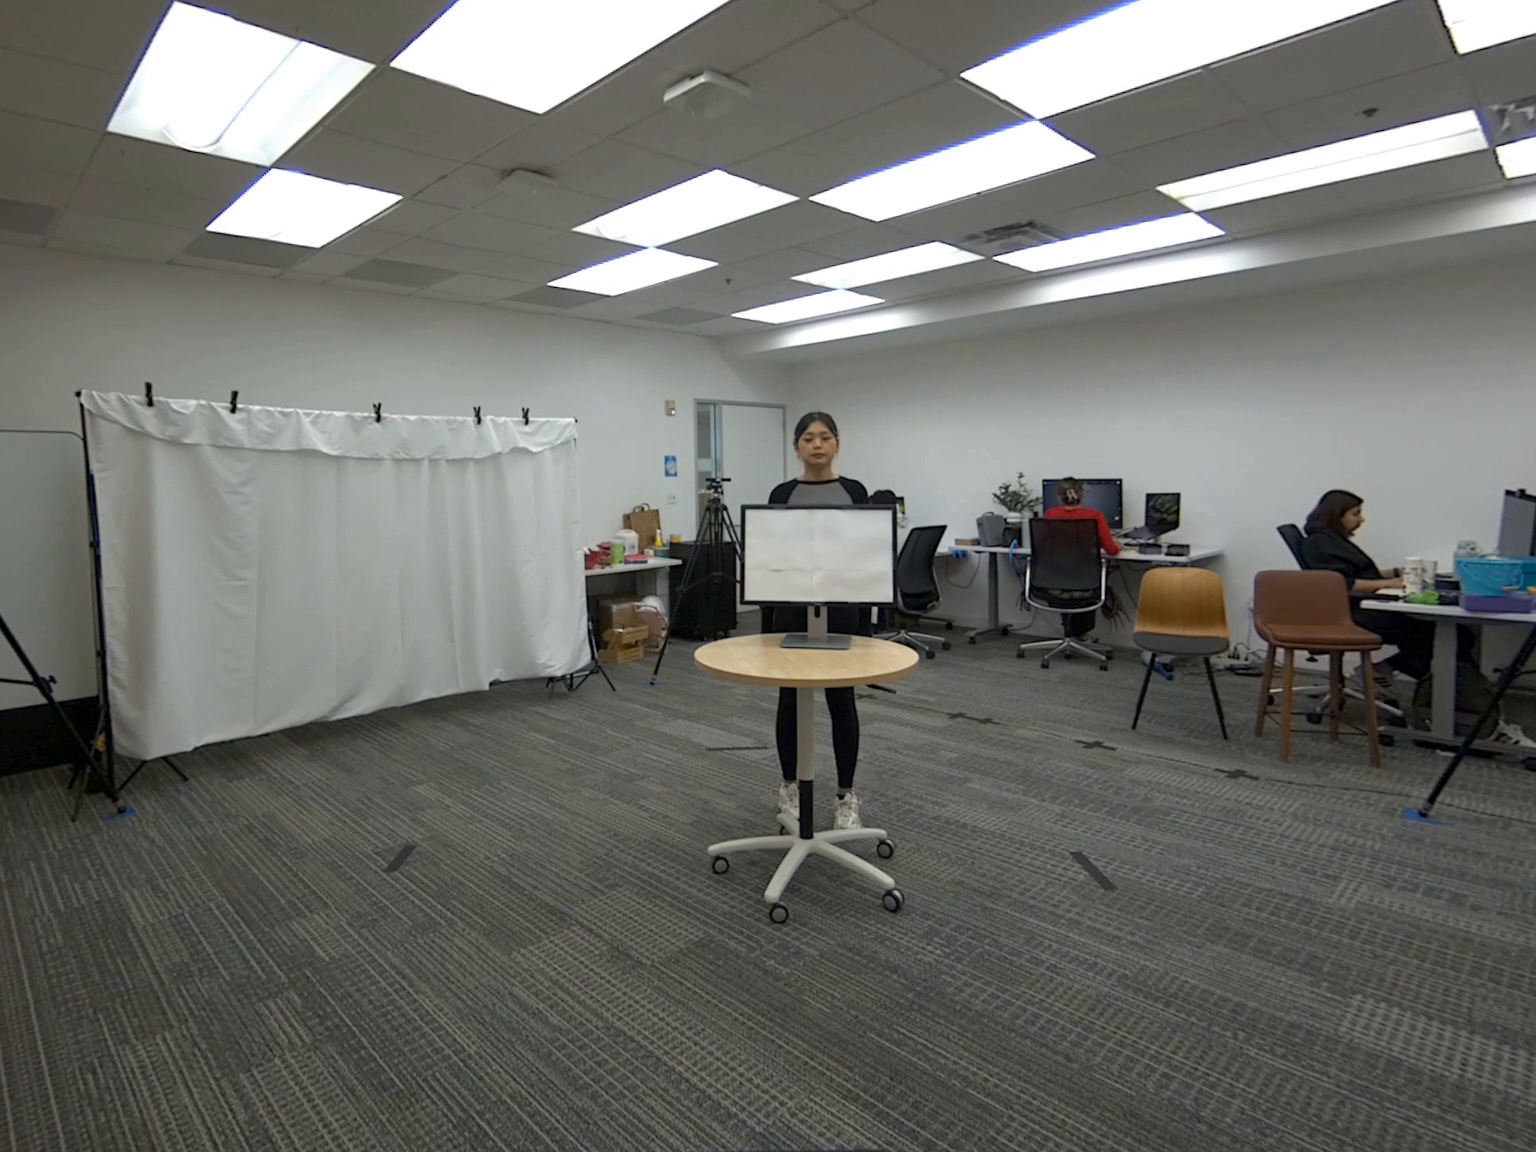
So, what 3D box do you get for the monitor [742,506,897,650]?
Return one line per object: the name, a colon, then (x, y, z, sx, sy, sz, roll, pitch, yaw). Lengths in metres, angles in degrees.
monitor: (0.170, 0.002, 3.101, 0.541, 0.520, 0.187, 0, 5, 3)
